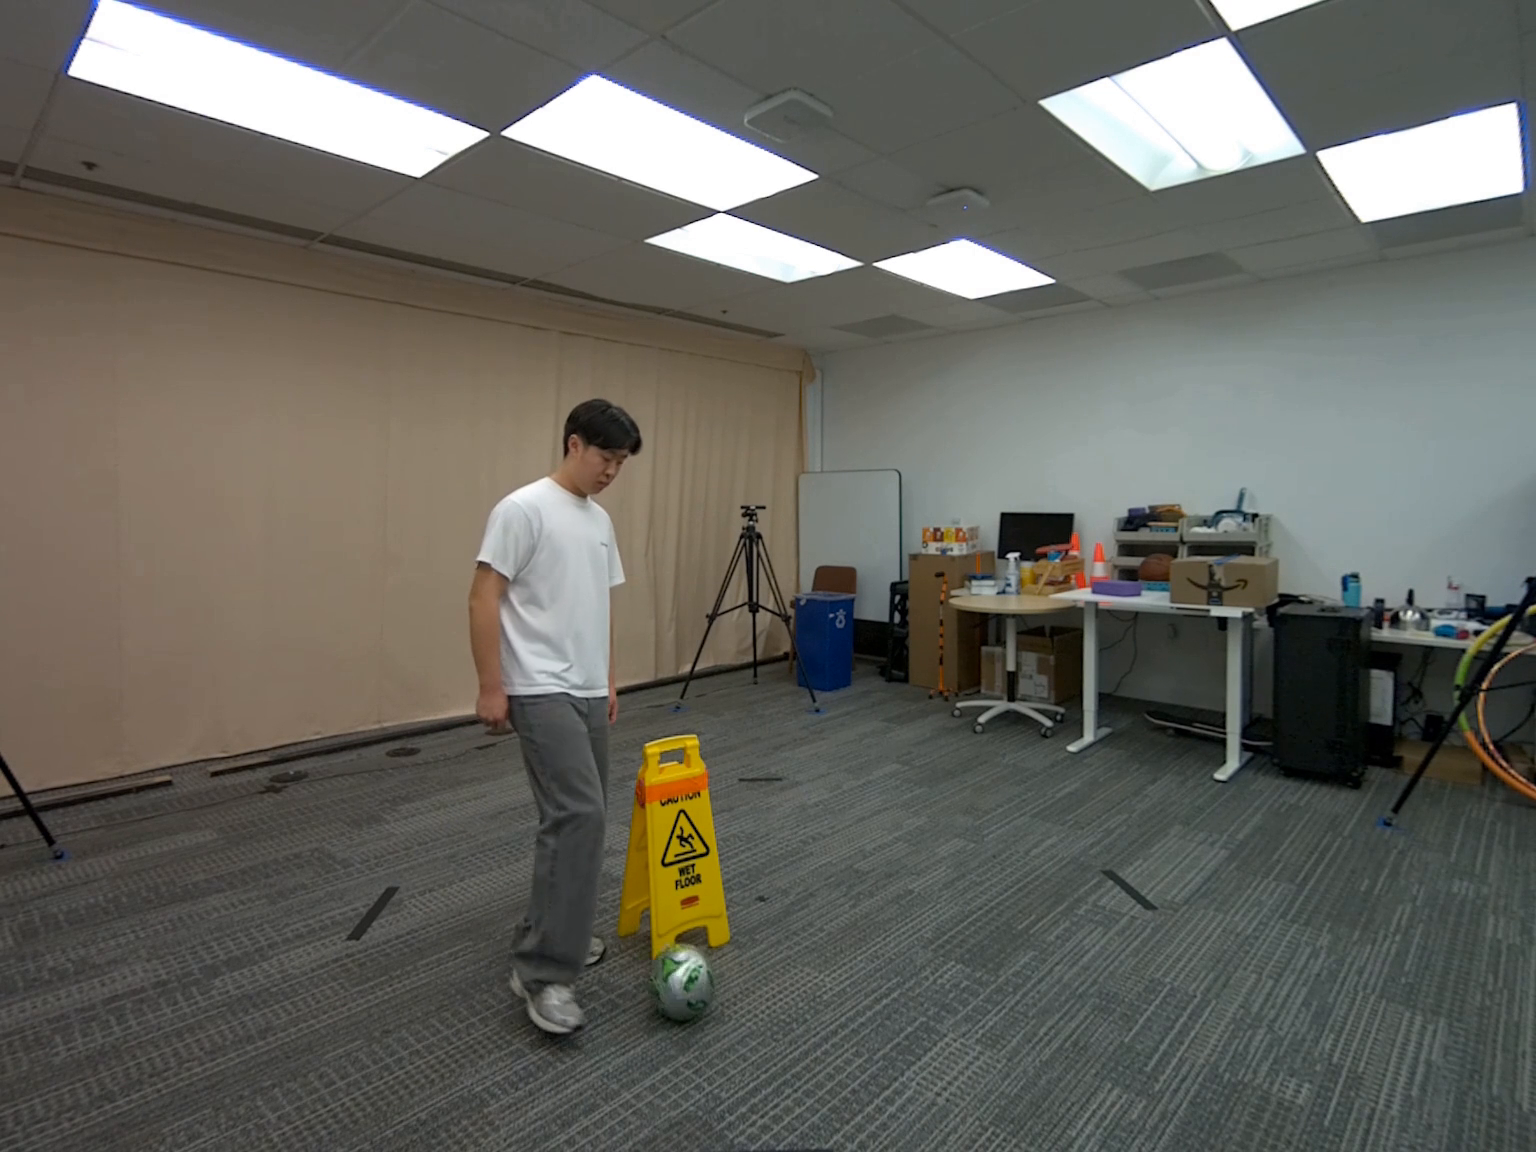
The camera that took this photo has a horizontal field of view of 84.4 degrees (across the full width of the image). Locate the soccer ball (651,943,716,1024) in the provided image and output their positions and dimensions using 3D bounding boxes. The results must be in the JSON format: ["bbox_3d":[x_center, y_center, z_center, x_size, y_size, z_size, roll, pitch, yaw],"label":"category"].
[{"bbox_3d":[-0.235,1.099,2.305,0.187,0.187,0.188,0,4,-2],"label":"soccer ball"}]
